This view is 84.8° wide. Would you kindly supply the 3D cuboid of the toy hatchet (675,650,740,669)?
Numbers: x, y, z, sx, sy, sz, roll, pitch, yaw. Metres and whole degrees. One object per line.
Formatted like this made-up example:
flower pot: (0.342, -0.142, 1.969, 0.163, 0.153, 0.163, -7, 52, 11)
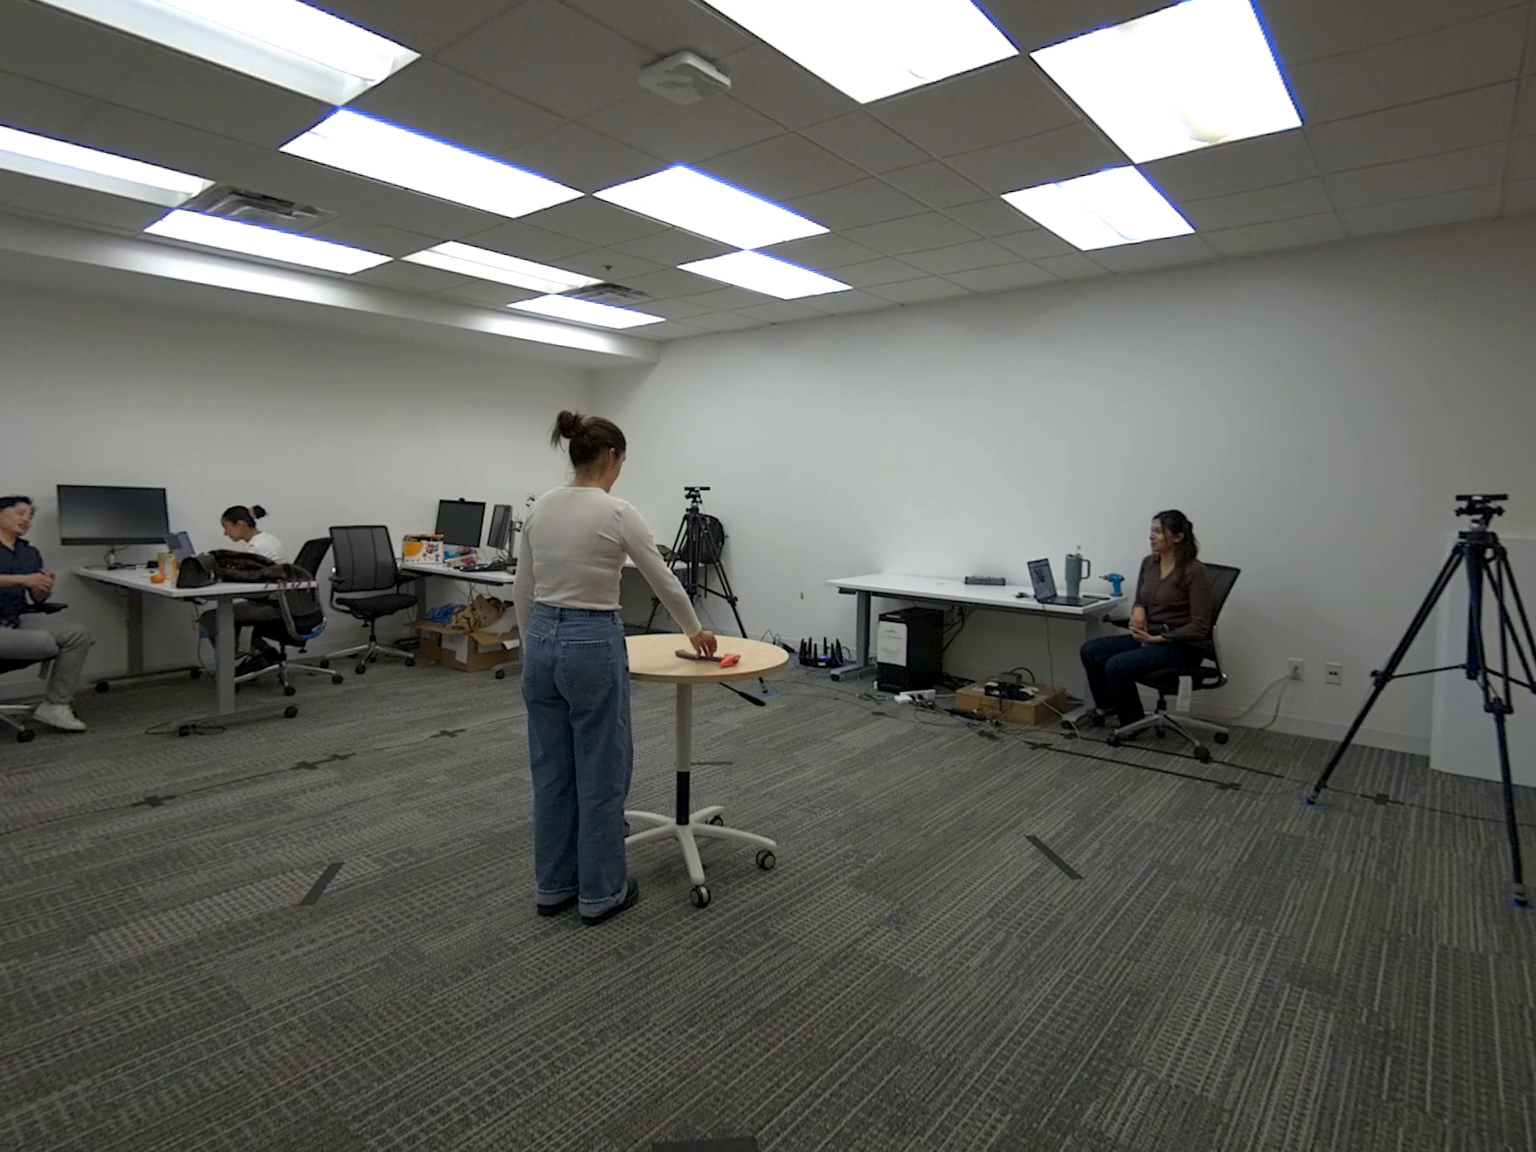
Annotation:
toy hatchet: (-0.211, 0.281, 3.002, 0.128, 0.029, 0.279, -13, 12, -39)
